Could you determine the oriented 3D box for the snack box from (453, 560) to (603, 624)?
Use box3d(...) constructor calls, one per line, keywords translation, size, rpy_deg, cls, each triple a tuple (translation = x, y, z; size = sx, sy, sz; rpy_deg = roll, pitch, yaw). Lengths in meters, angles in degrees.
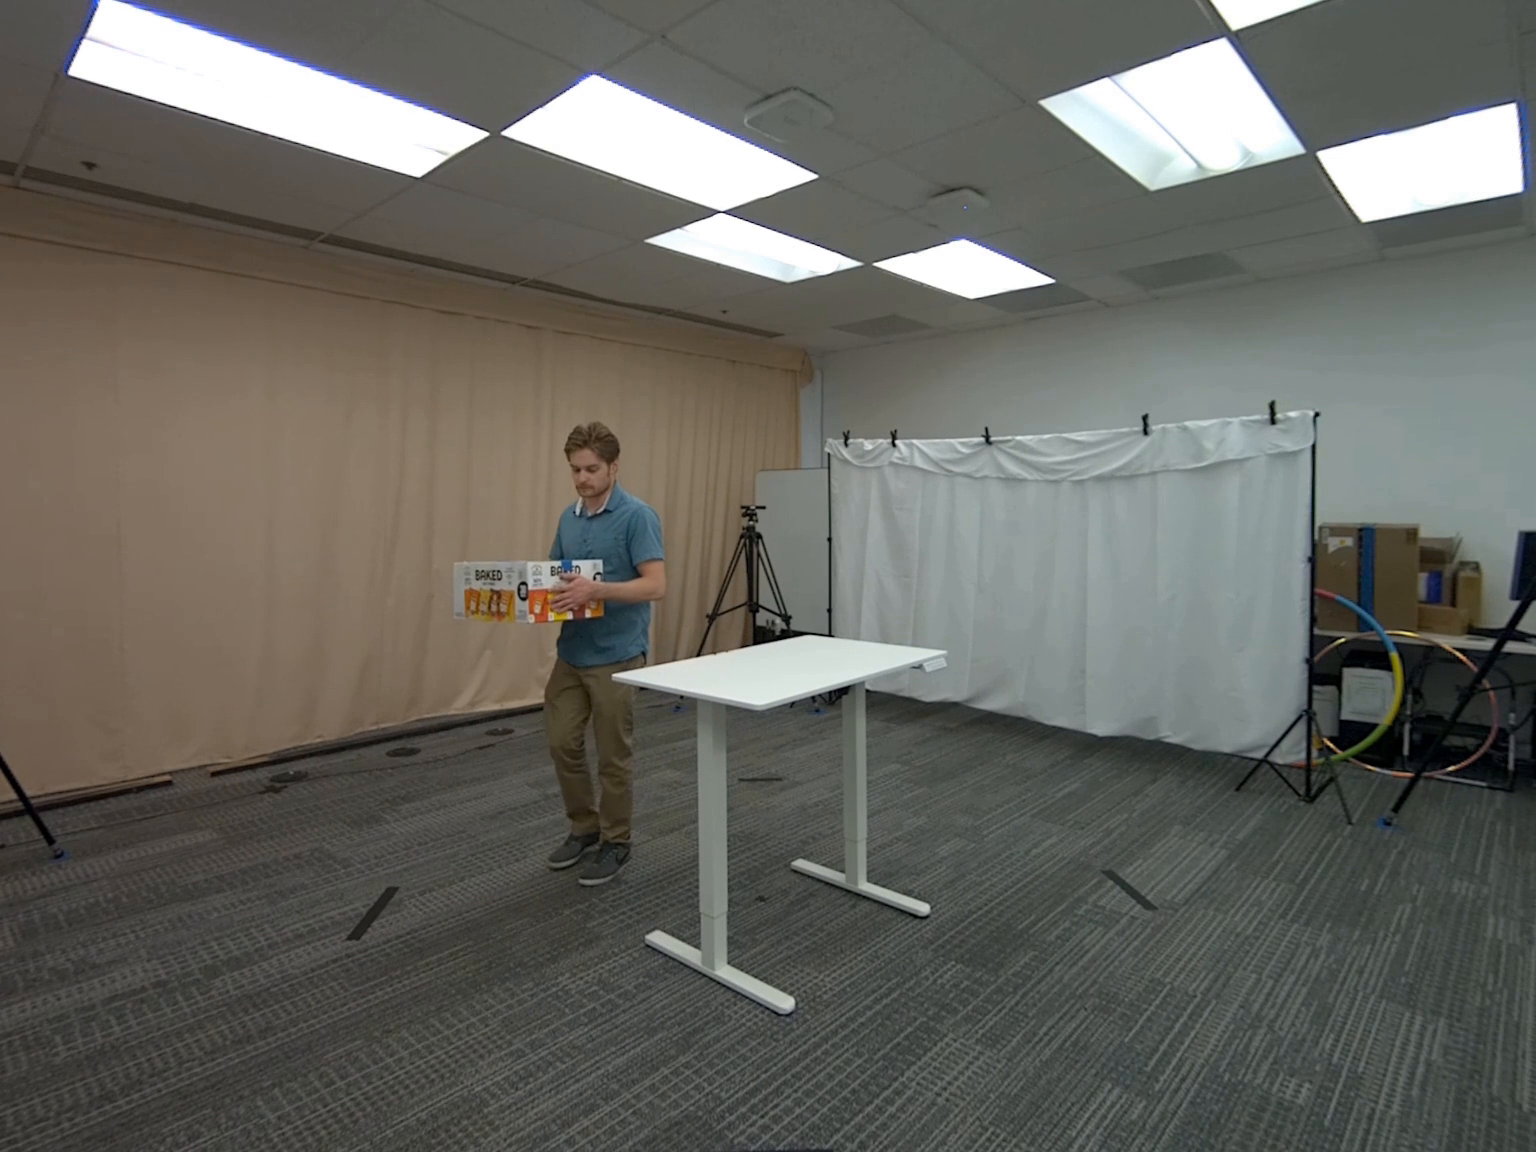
box3d(translation=(-0.849, 0.049, 2.989), size=(0.418, 0.205, 0.330), rpy_deg=(0, 2, 36), cls="snack box")
